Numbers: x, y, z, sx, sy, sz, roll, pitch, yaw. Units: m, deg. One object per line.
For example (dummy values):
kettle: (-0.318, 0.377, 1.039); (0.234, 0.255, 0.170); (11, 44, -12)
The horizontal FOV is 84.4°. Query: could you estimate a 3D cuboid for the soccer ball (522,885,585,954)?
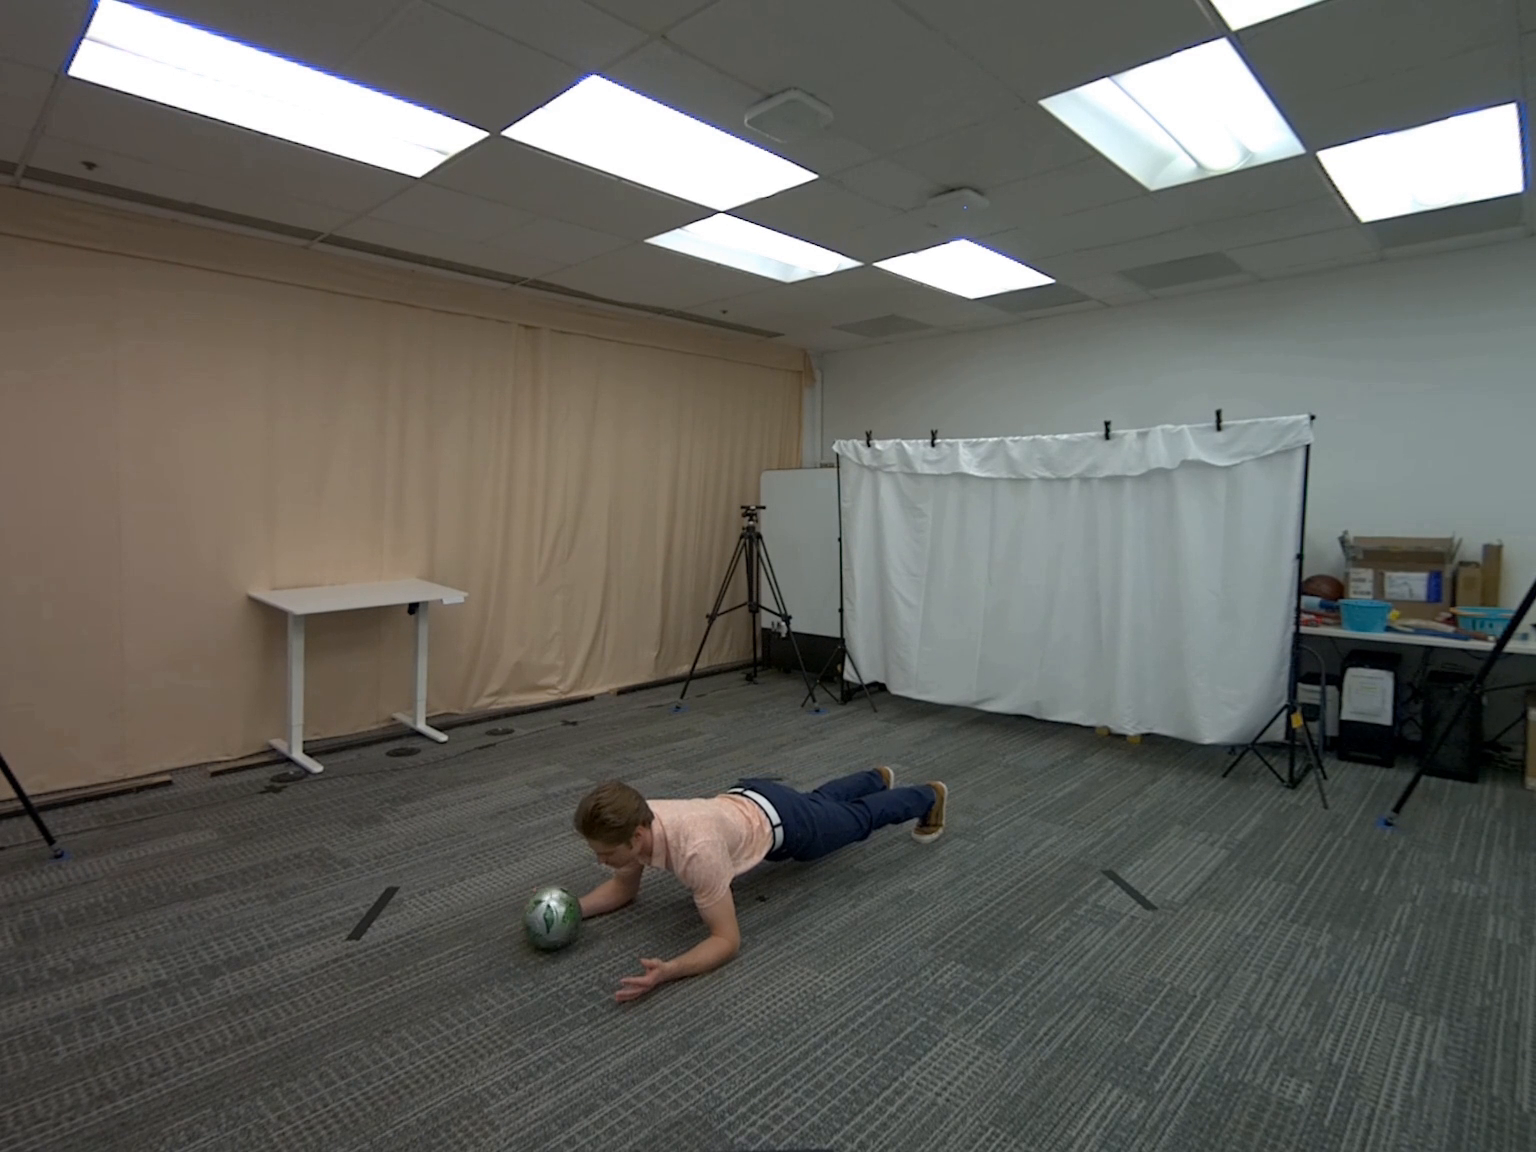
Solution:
soccer ball: (-0.669, 1.086, 2.662); (0.187, 0.187, 0.188); (0, 4, -2)
